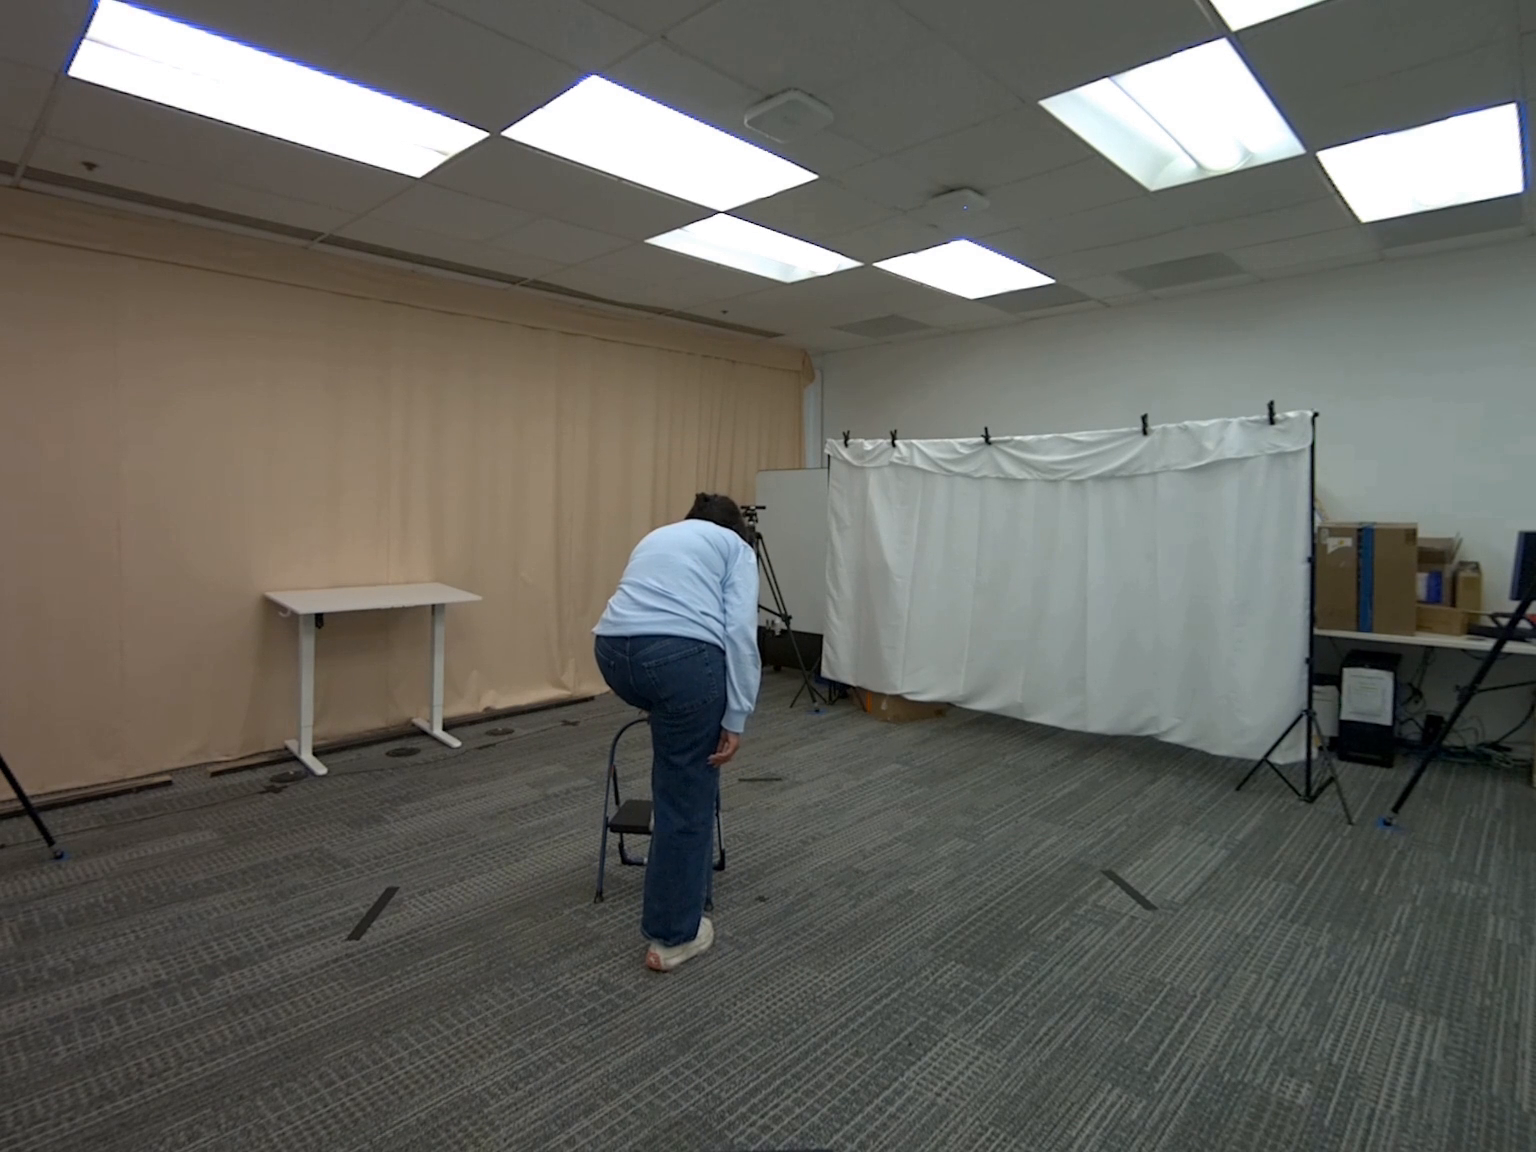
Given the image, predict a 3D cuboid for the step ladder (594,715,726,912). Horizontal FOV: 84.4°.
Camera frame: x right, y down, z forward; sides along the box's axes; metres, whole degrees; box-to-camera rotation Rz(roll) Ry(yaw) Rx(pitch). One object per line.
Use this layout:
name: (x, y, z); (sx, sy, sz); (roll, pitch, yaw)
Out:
step ladder: (-0.387, 0.838, 3.086); (0.435, 0.605, 0.347); (0, 3, 8)
